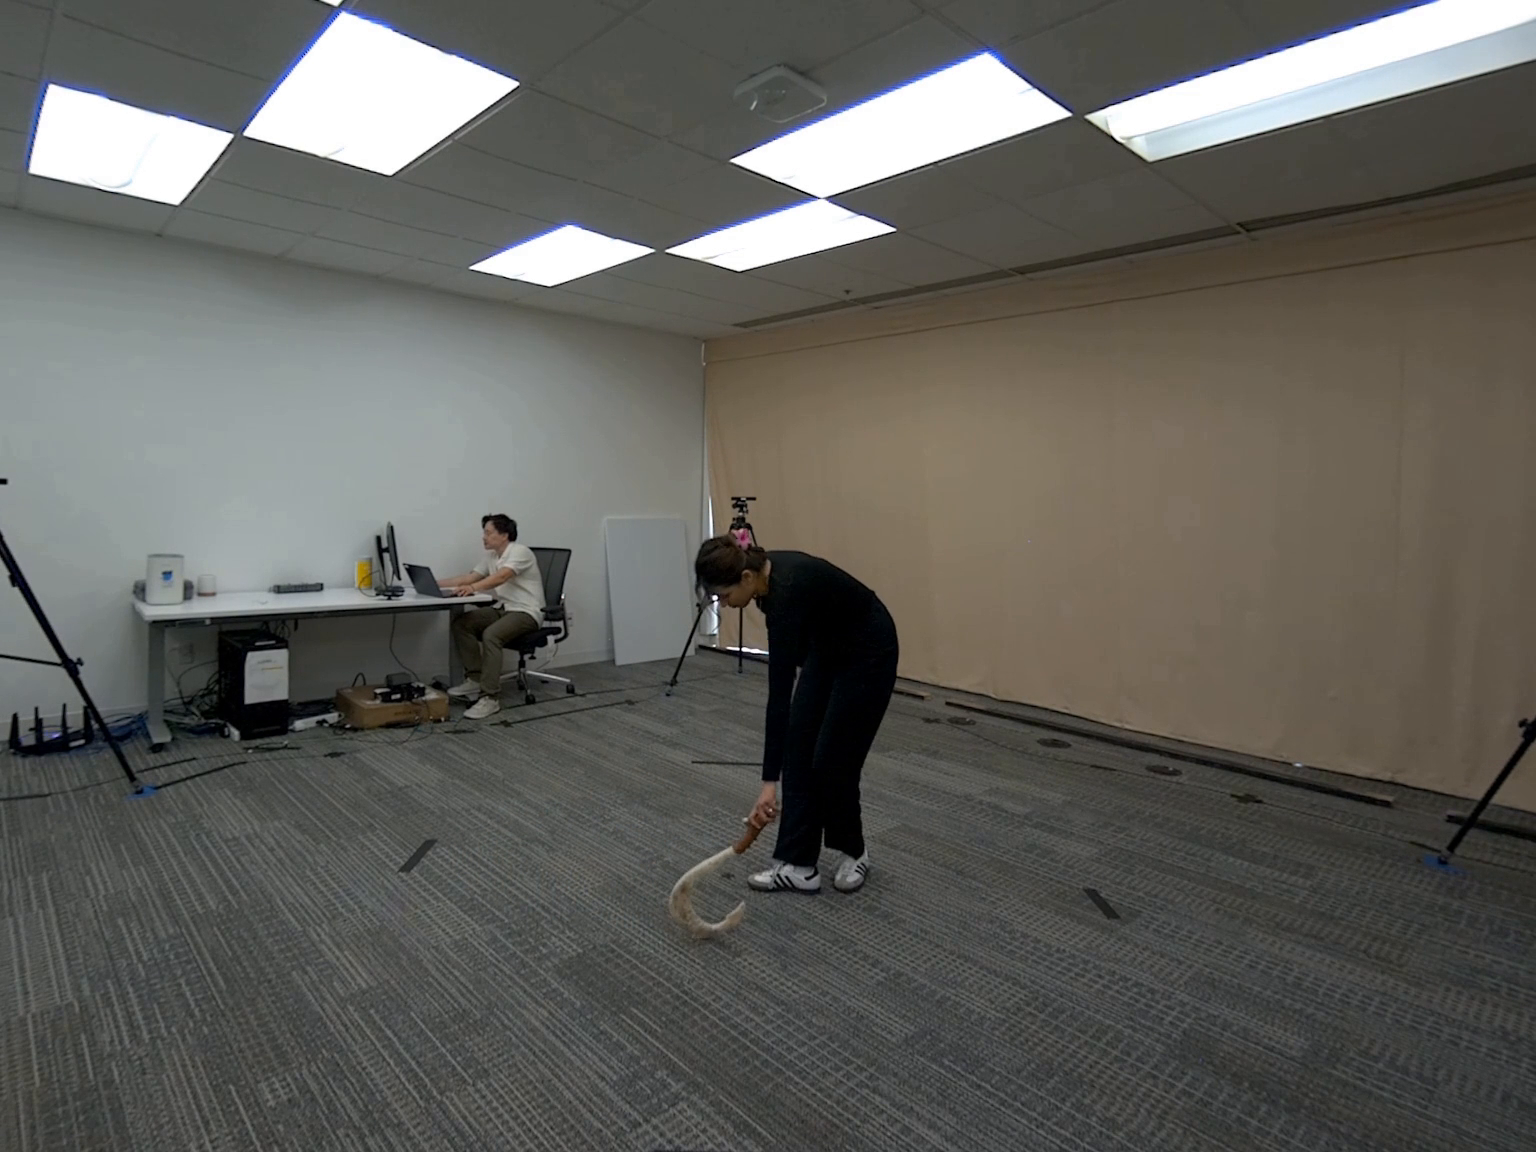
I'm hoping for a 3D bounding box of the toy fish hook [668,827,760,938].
[{"bbox_3d":[-0.101,0.925,2.634,0.224,0.506,0.048,39,7,-1],"label":"toy fish hook"}]
